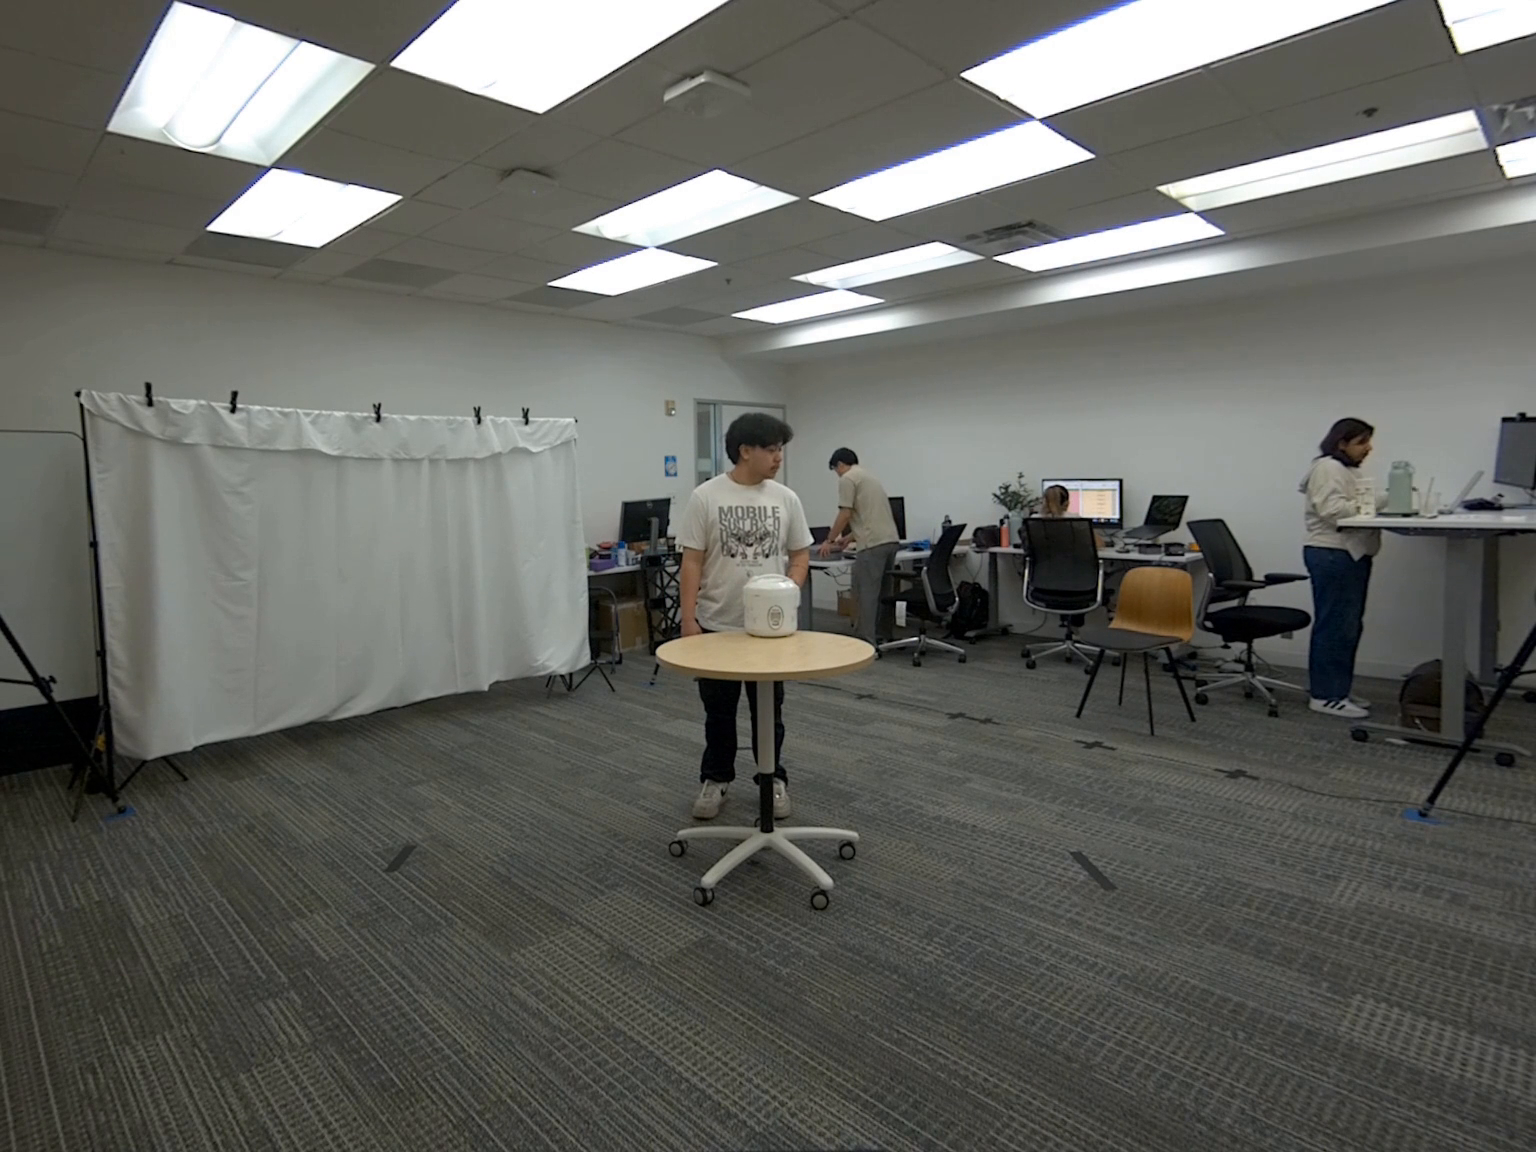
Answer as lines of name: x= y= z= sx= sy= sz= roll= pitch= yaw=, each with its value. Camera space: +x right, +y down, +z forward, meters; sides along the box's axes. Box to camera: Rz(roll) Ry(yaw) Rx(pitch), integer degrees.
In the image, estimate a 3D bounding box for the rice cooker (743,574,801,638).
rice cooker: x=0.010 y=0.112 z=3.290 sx=0.219 sy=0.232 sz=0.219 roll=-2 pitch=3 yaw=-7
